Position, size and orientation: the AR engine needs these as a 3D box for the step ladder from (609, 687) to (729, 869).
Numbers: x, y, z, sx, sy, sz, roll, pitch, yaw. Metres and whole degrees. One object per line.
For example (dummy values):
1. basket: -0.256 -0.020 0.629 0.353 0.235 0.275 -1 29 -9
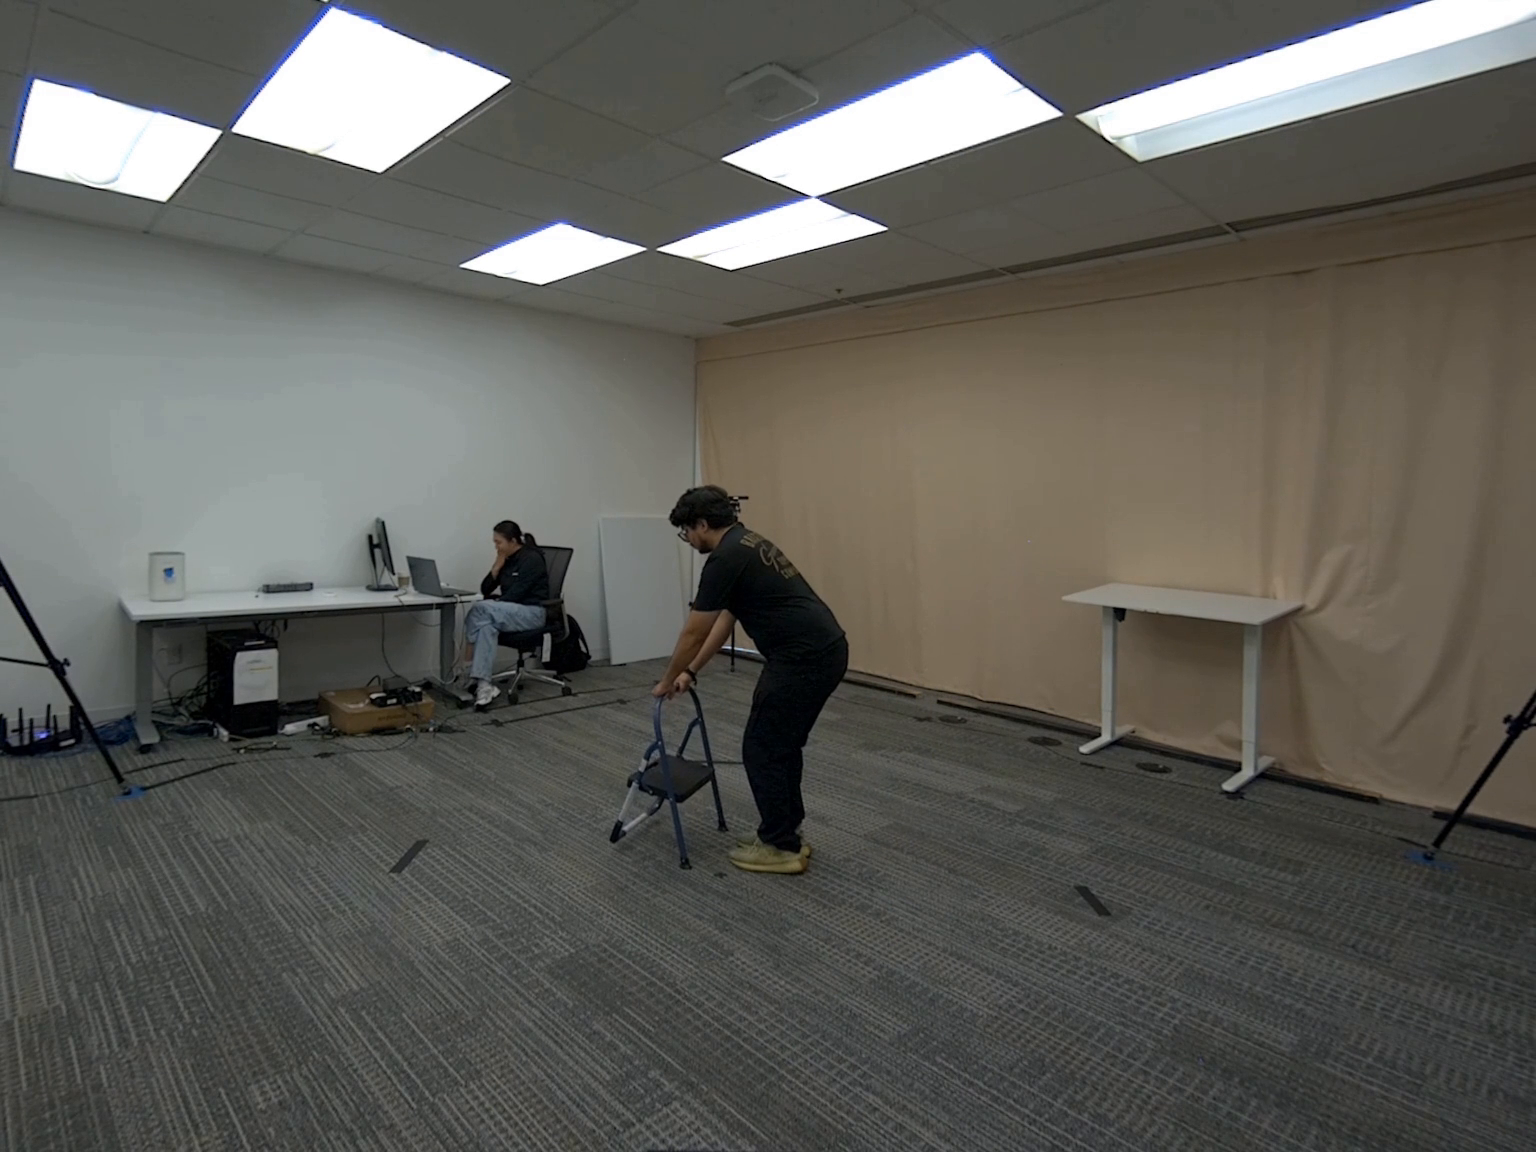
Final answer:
1. step ladder: -0.357 0.756 3.375 0.355 0.604 0.425 10 7 19
